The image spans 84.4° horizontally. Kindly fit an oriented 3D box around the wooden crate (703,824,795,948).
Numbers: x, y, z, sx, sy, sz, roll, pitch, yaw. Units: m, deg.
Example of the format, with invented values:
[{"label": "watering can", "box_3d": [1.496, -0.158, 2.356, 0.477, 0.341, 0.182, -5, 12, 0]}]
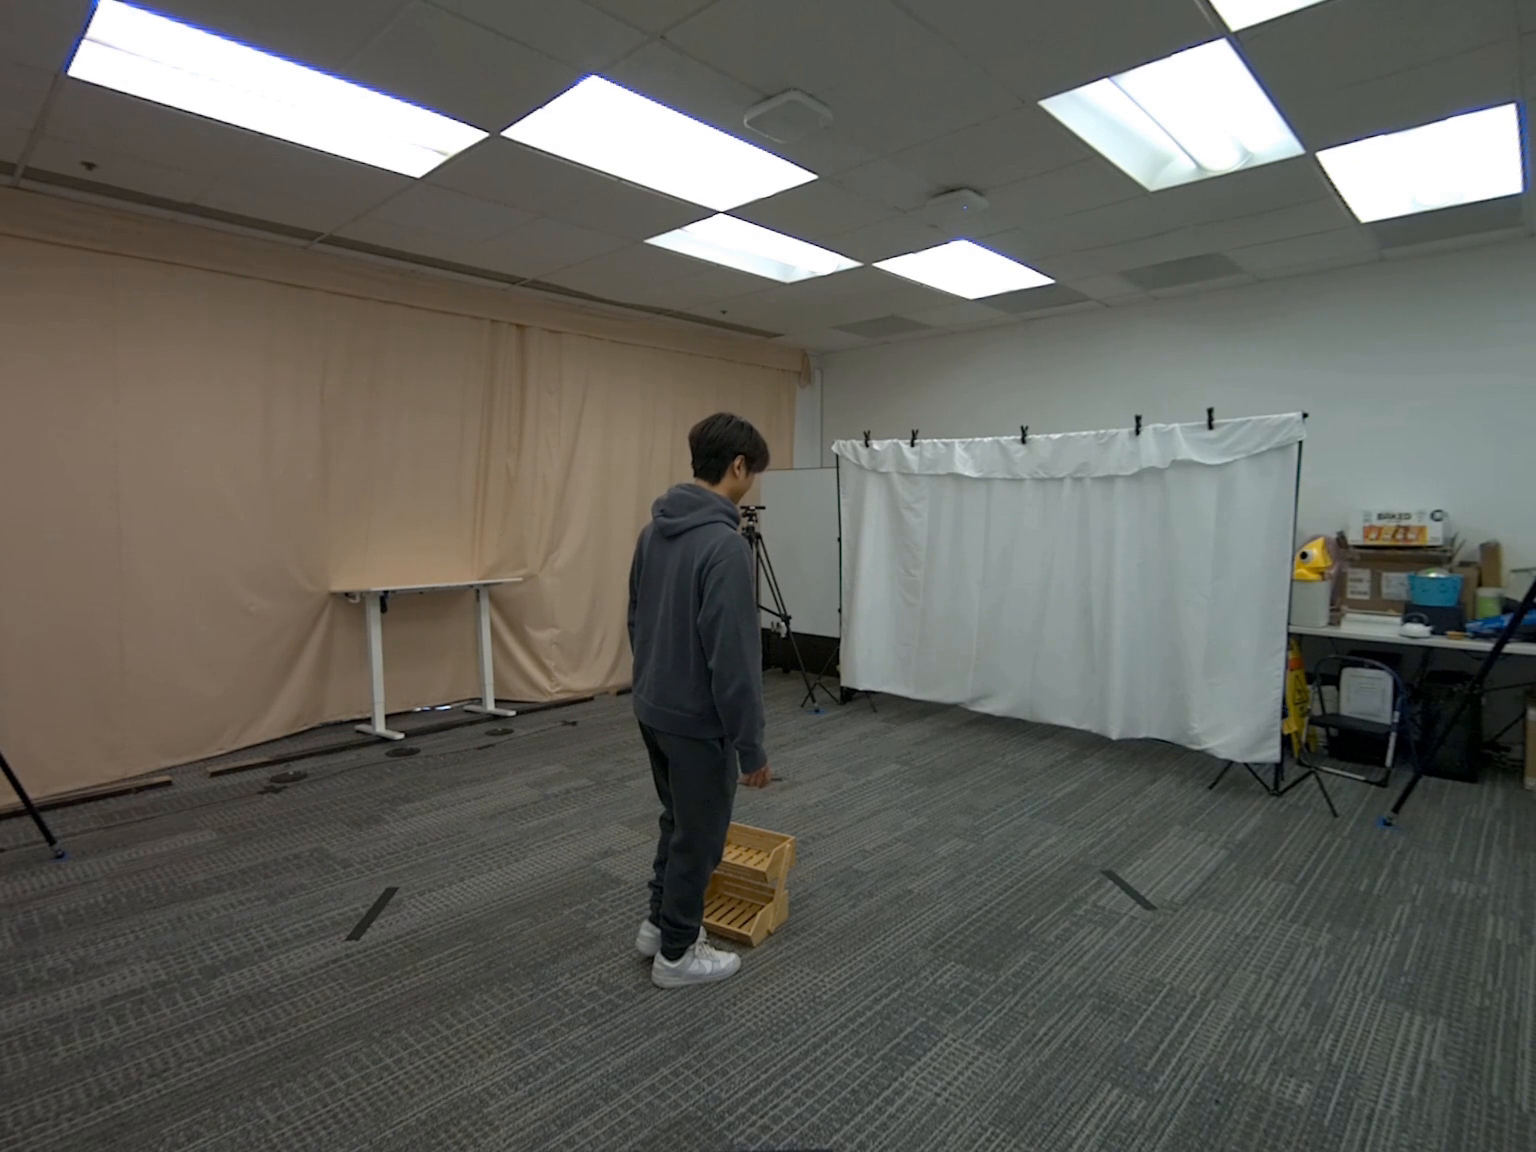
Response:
[{"label": "wooden crate", "box_3d": [-0.106, 1.025, 2.838, 0.334, 0.273, 0.294, 2, 4, 31]}]
